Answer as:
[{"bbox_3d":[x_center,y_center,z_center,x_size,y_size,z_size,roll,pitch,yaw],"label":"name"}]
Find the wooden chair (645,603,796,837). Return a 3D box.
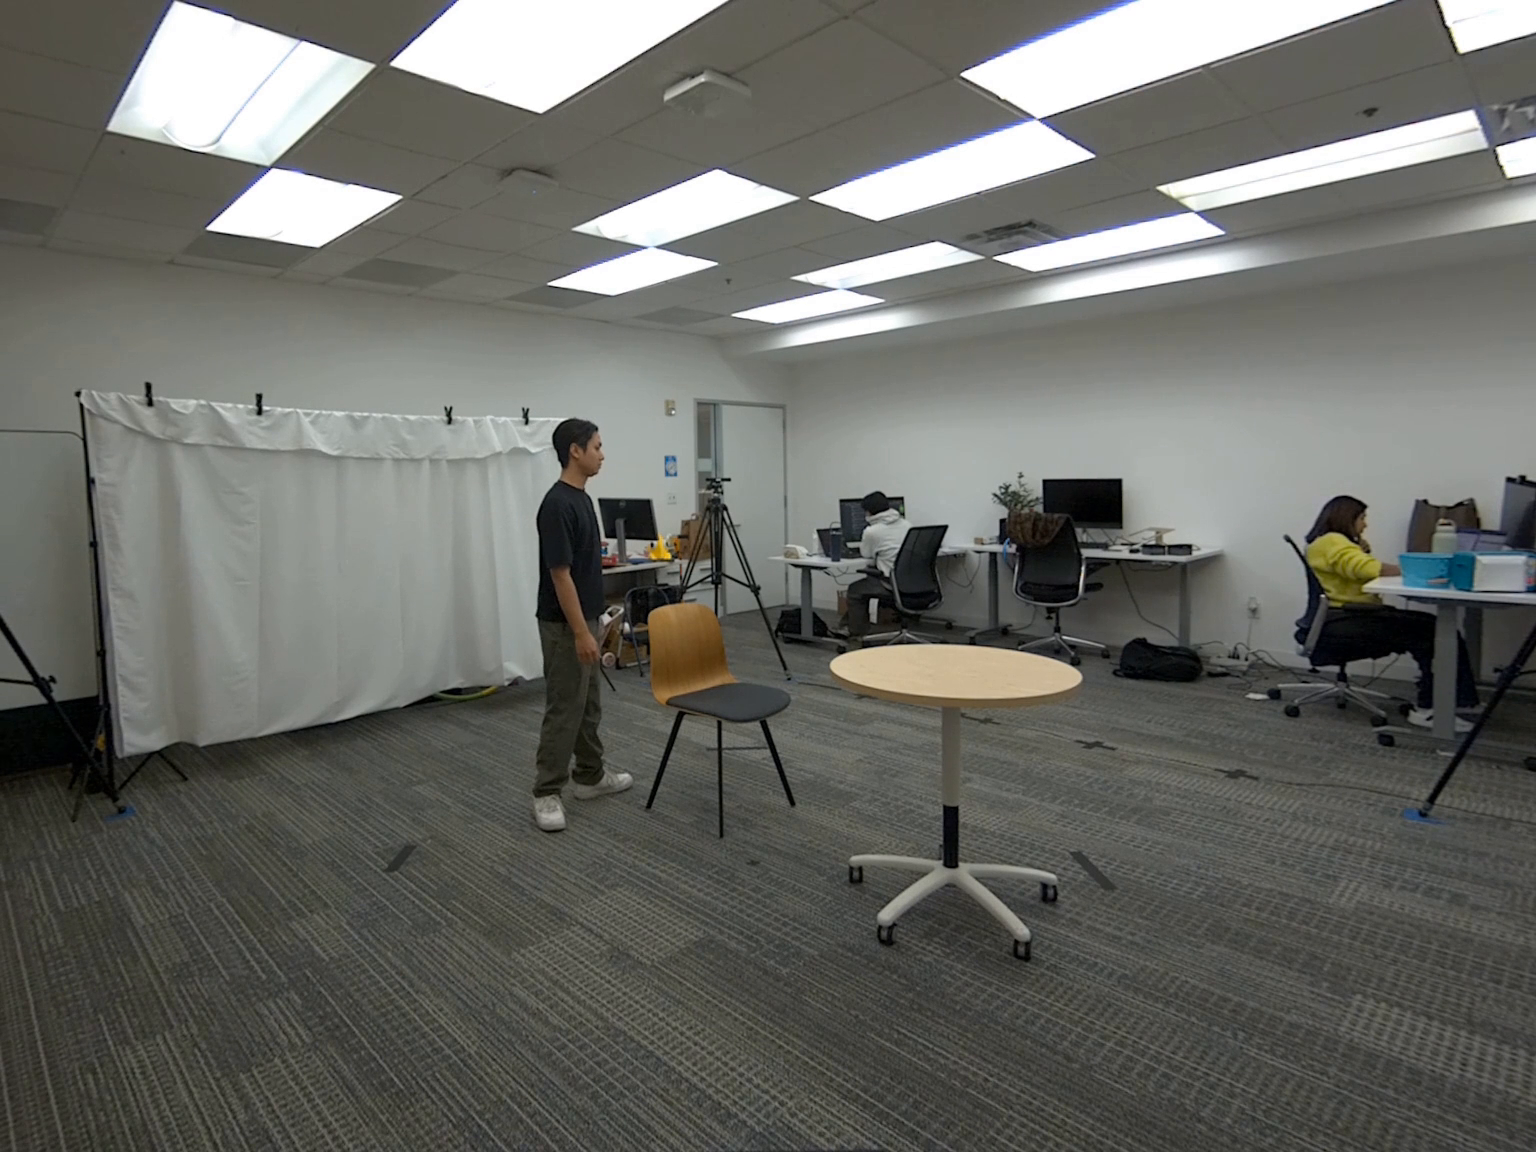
[{"bbox_3d":[-0.202,0.558,3.597,0.537,0.877,0.465,-3,1,44],"label":"wooden chair"}]
